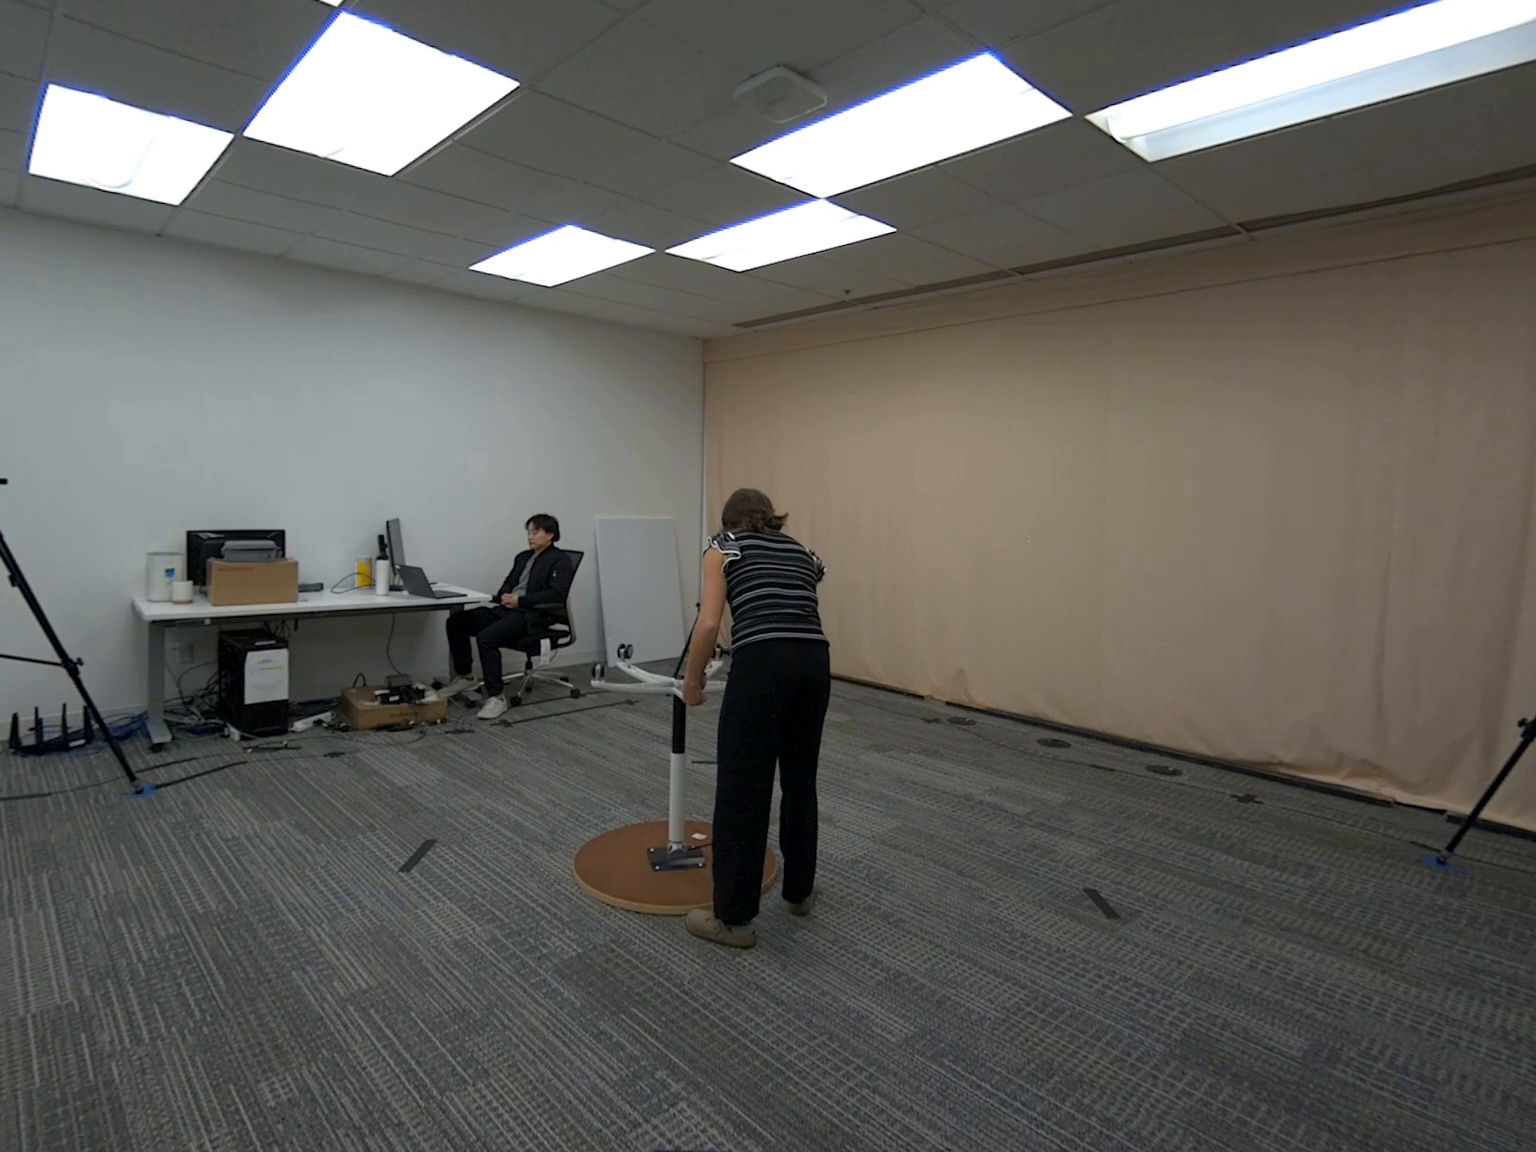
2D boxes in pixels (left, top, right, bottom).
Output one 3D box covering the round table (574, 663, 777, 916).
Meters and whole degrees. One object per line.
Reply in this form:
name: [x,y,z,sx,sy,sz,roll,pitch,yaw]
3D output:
round table: [-0.353,0.702,3.168,0.763,0.792,0.766,1,3,-1]
